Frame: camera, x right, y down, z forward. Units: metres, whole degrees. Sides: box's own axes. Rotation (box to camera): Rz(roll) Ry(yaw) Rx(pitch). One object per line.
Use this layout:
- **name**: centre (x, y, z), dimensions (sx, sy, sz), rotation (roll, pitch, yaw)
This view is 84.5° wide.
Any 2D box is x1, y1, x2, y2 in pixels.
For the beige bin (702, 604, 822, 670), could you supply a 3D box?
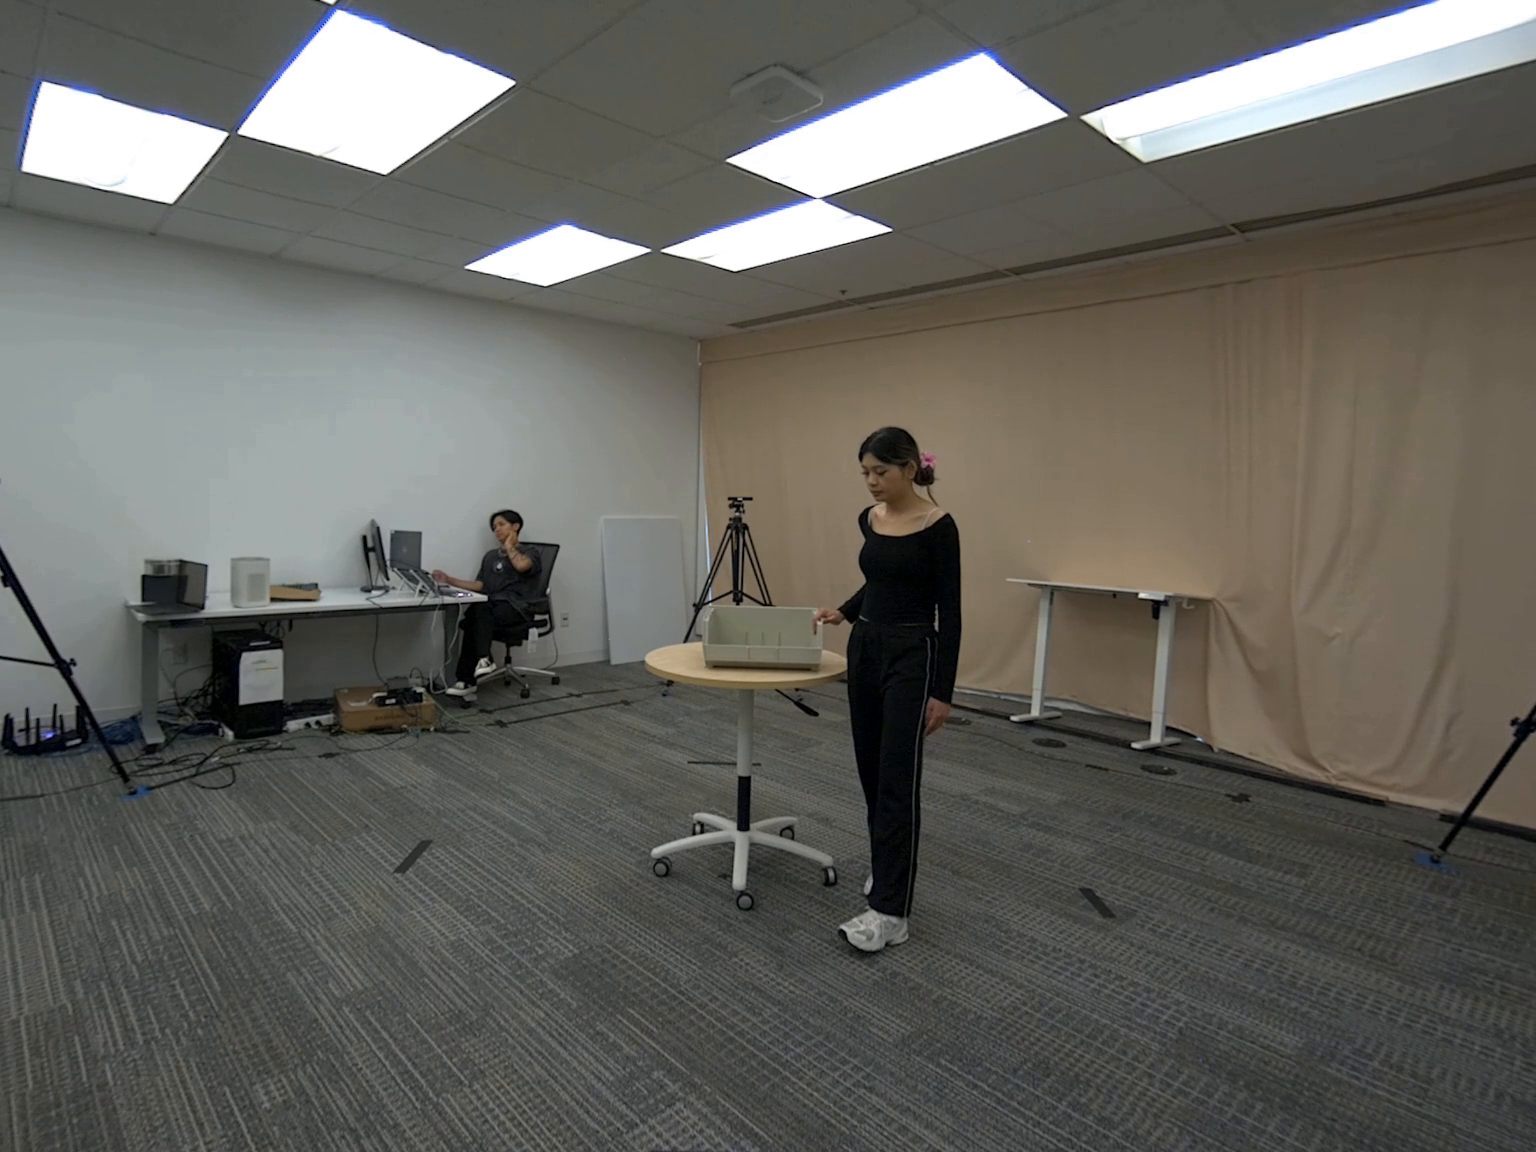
- **beige bin**: centre (-0.020, 0.225, 3.092), dimensions (0.422, 0.188, 0.378), rotation (1, 4, 0)
